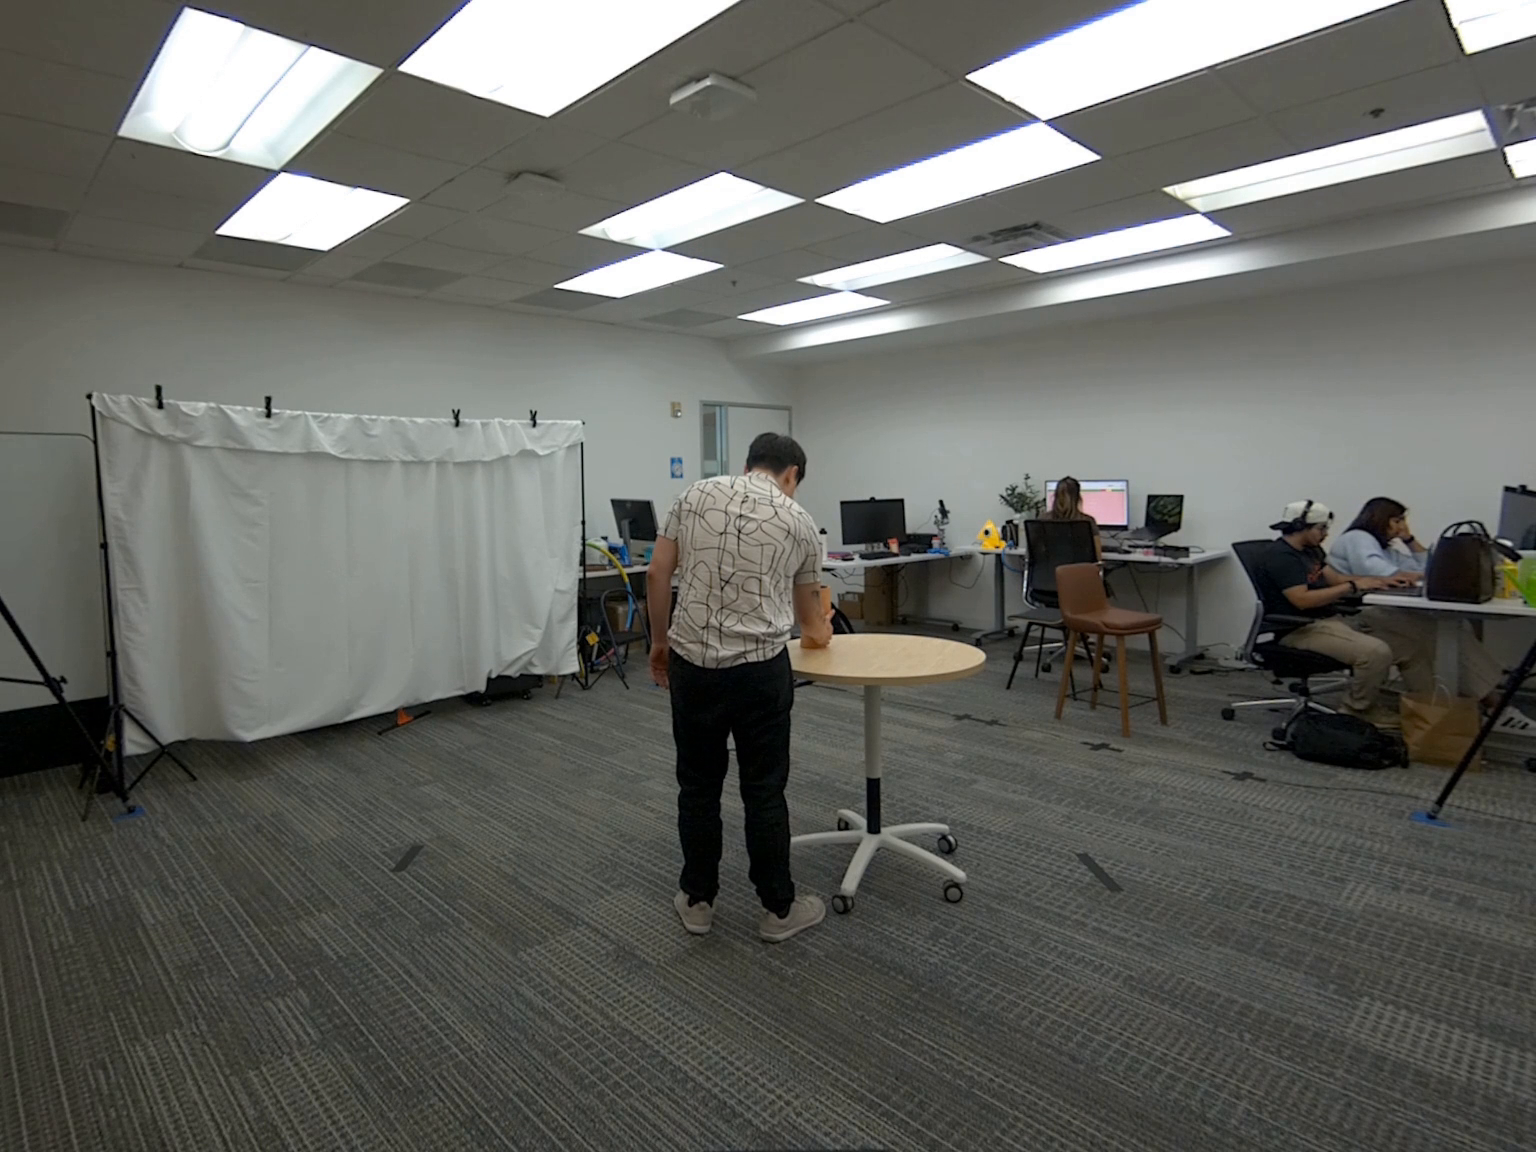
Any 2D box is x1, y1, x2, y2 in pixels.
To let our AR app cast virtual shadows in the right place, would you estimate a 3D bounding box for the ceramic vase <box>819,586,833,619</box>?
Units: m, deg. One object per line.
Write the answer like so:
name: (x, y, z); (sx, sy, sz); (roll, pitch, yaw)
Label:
ceramic vase: (0.174, 0.150, 3.140); (0.155, 0.219, 0.138); (-5, 4, -40)
